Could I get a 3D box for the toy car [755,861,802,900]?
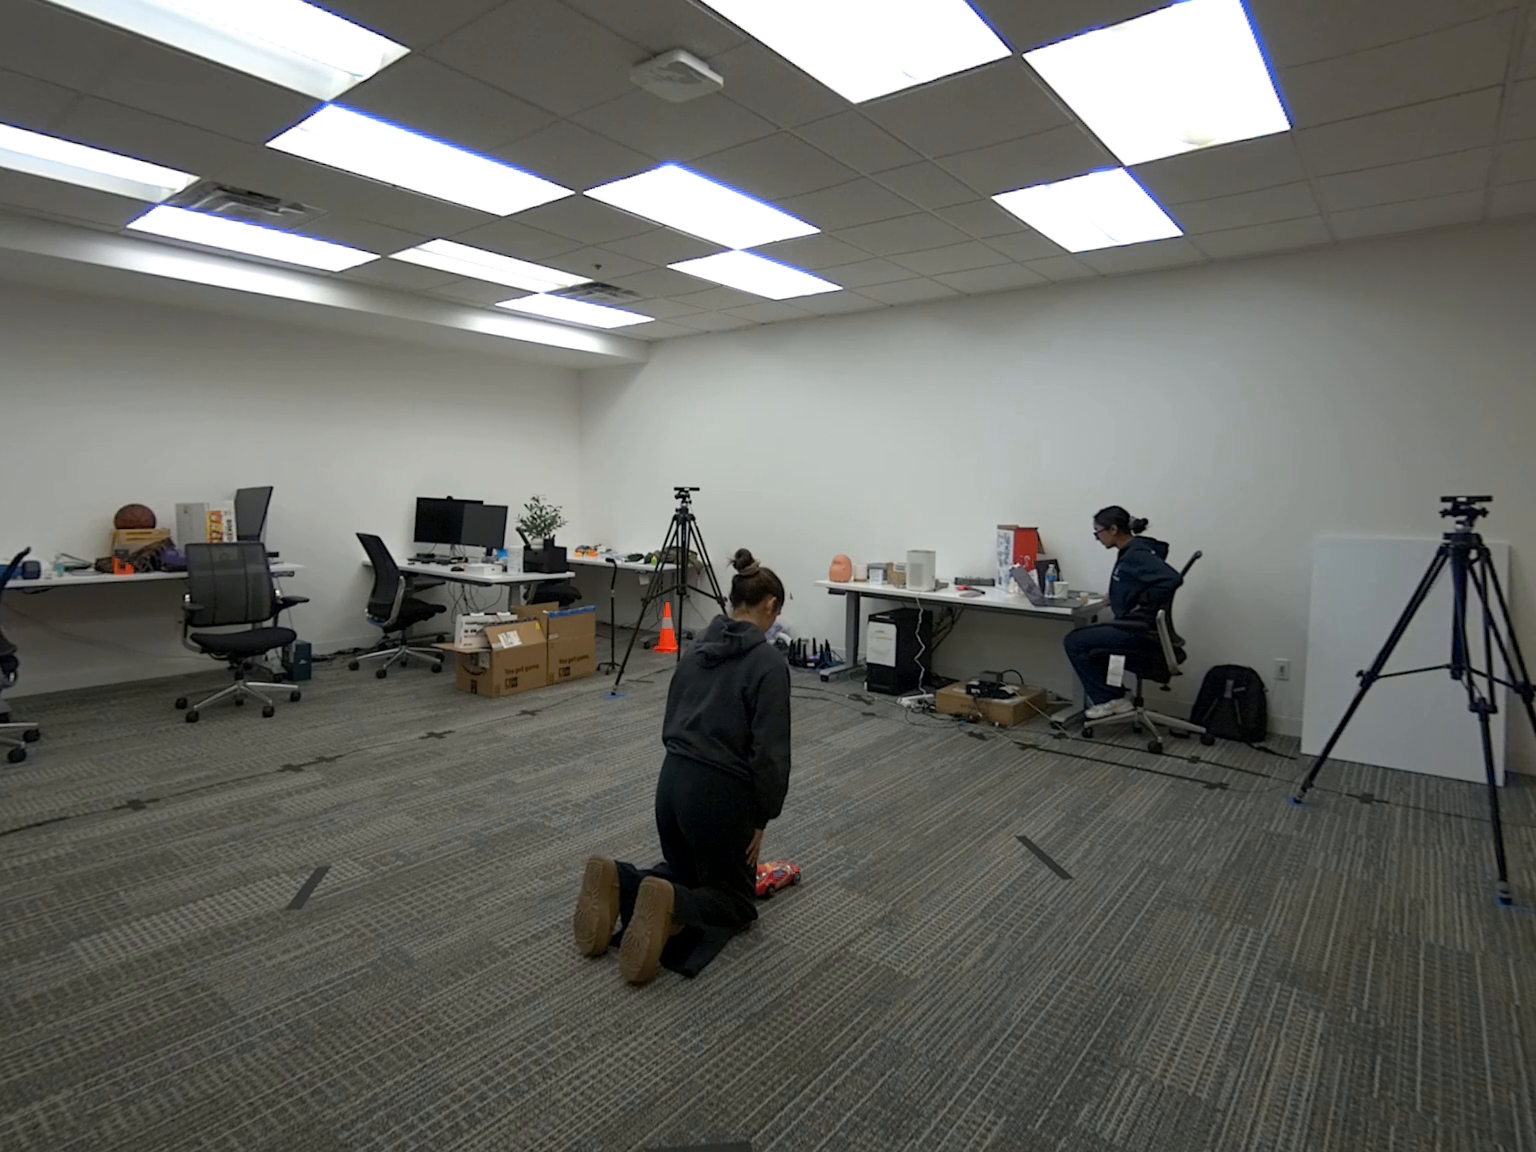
[{"bbox_3d":[0.005,1.057,2.964,0.135,0.083,0.245,6,-4,42],"label":"toy car"}]
